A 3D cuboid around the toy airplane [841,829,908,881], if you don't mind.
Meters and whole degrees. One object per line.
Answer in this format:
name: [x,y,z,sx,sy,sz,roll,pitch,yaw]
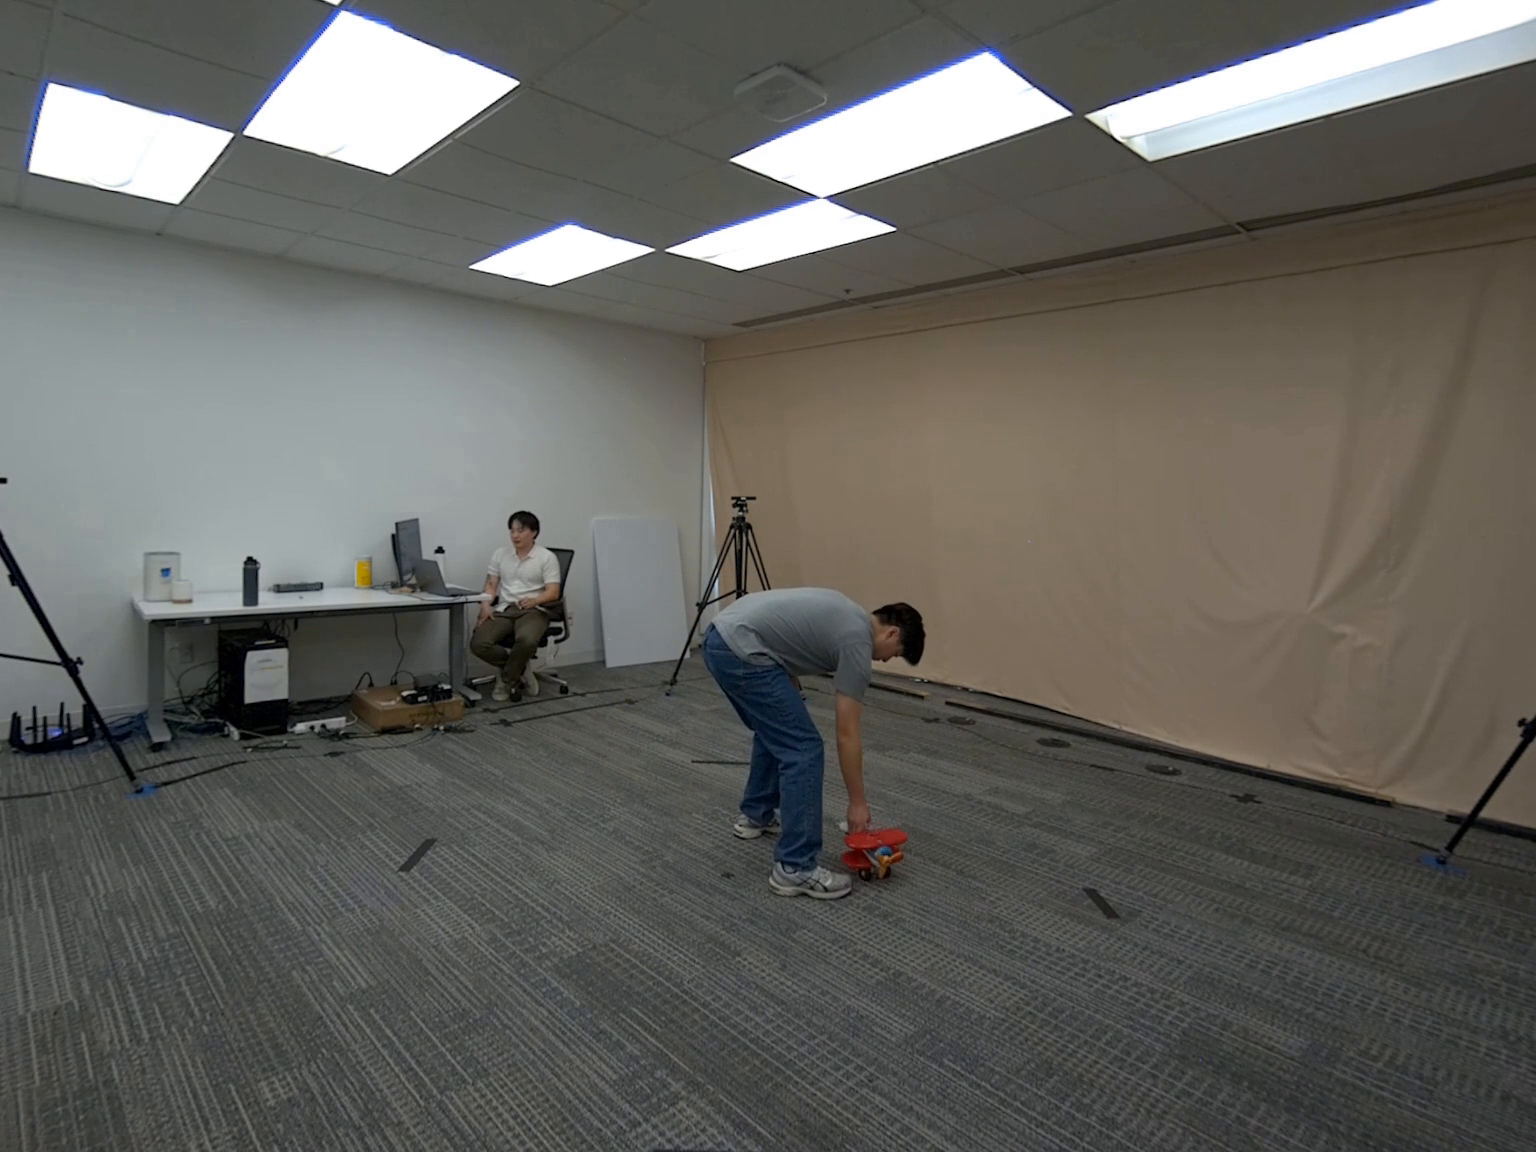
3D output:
toy airplane: [0.357,1.012,3.136,0.266,0.154,0.247,32,32,29]
